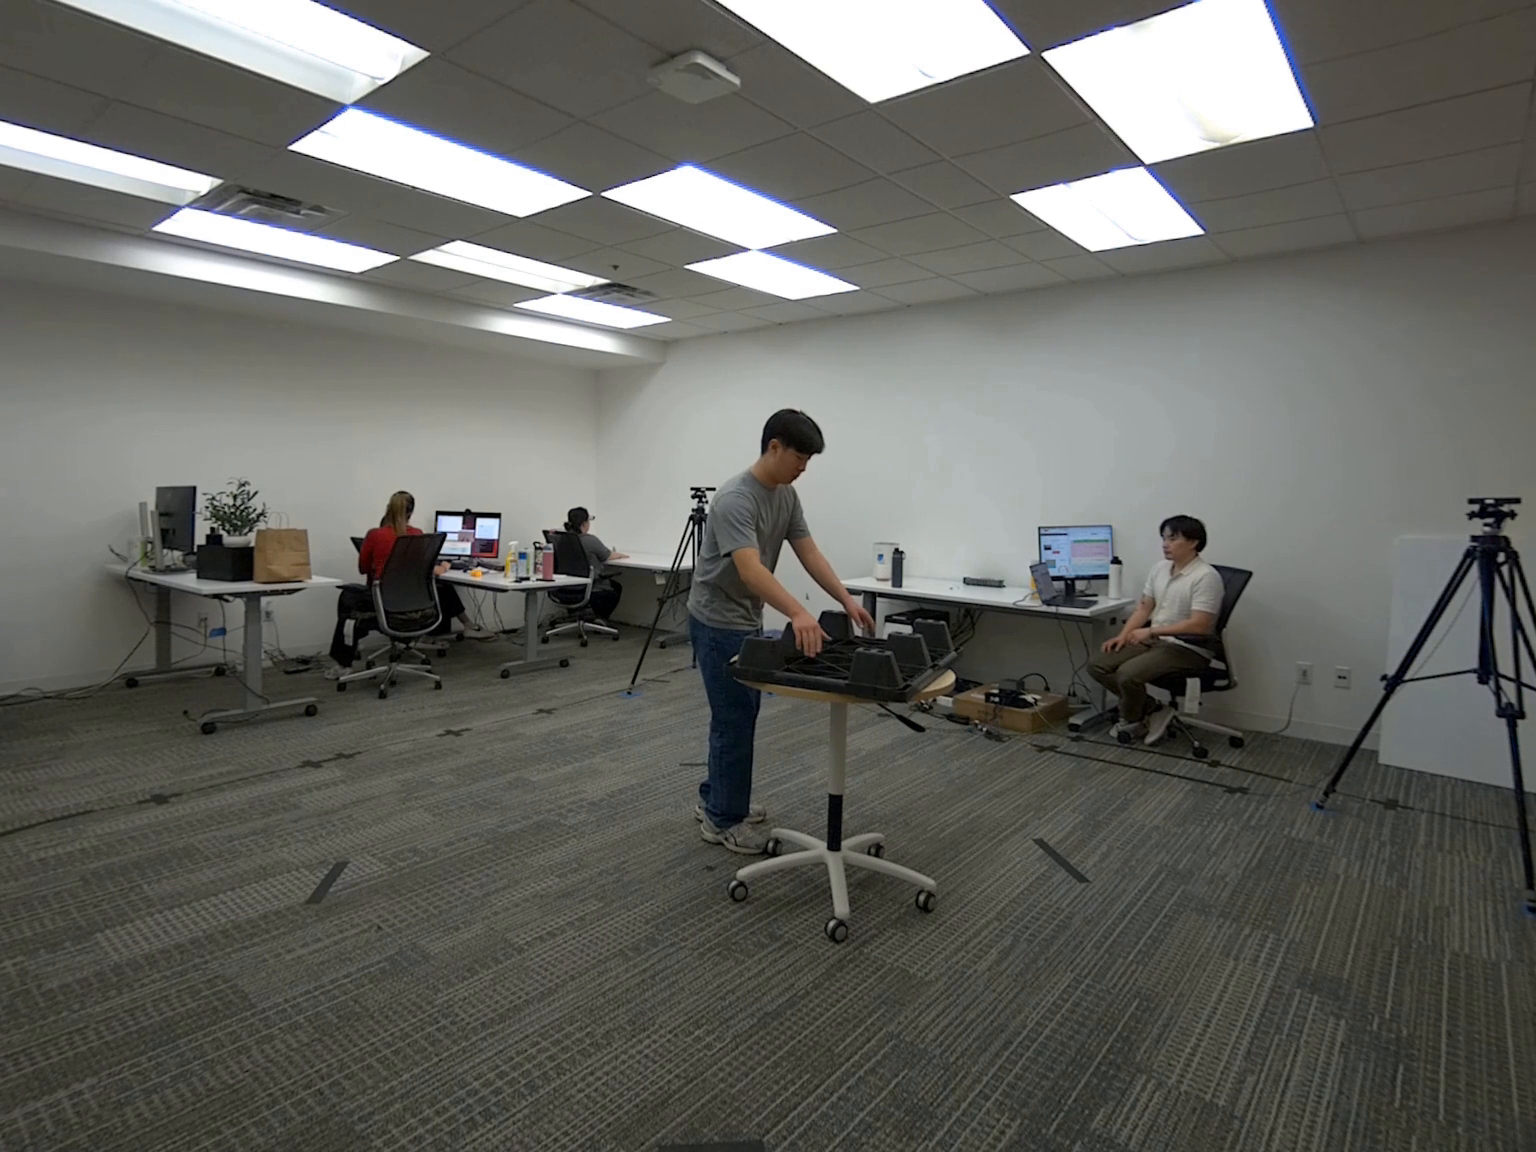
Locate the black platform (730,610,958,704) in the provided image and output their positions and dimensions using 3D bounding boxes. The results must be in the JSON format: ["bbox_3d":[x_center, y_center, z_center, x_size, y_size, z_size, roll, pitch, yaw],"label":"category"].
[{"bbox_3d":[0.283,0.248,2.941,0.622,0.142,0.788,5,7,25],"label":"black platform"}]
